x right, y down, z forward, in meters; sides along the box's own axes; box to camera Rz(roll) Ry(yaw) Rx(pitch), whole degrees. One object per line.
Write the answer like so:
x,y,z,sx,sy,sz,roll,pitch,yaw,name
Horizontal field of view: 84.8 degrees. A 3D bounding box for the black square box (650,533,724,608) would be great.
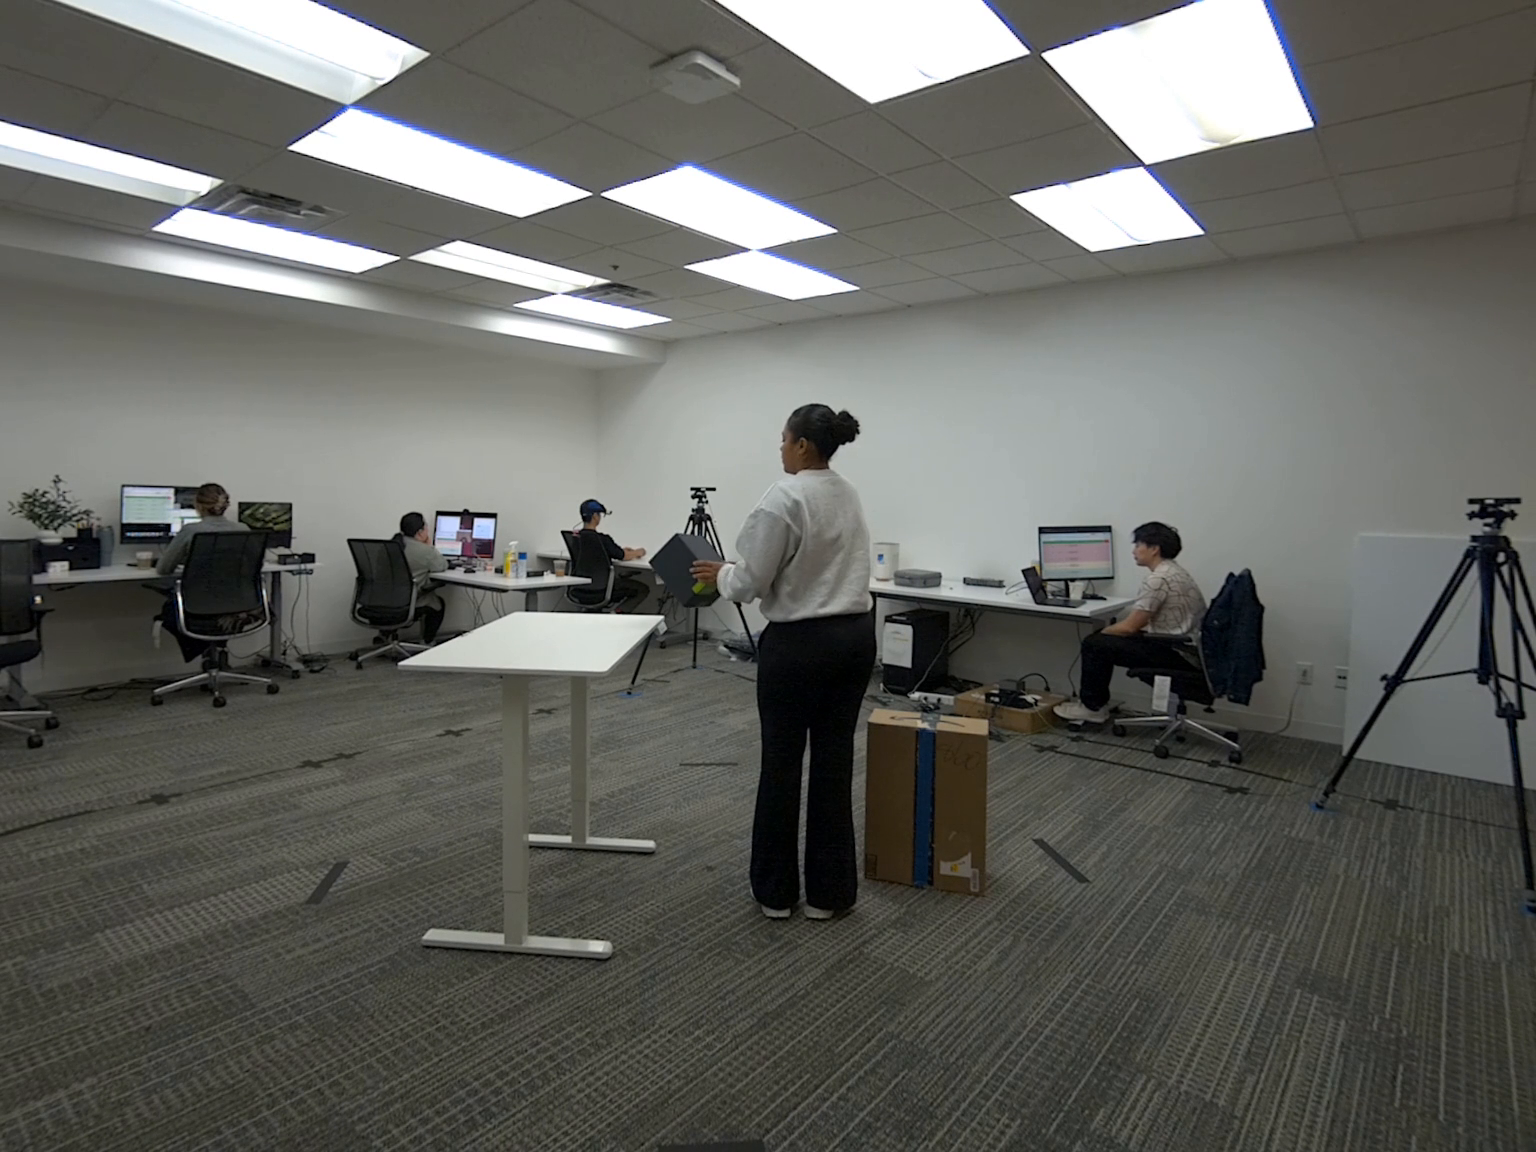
-0.264,-0.019,3.065,0.156,0.222,0.222,-45,-17,15,black square box
